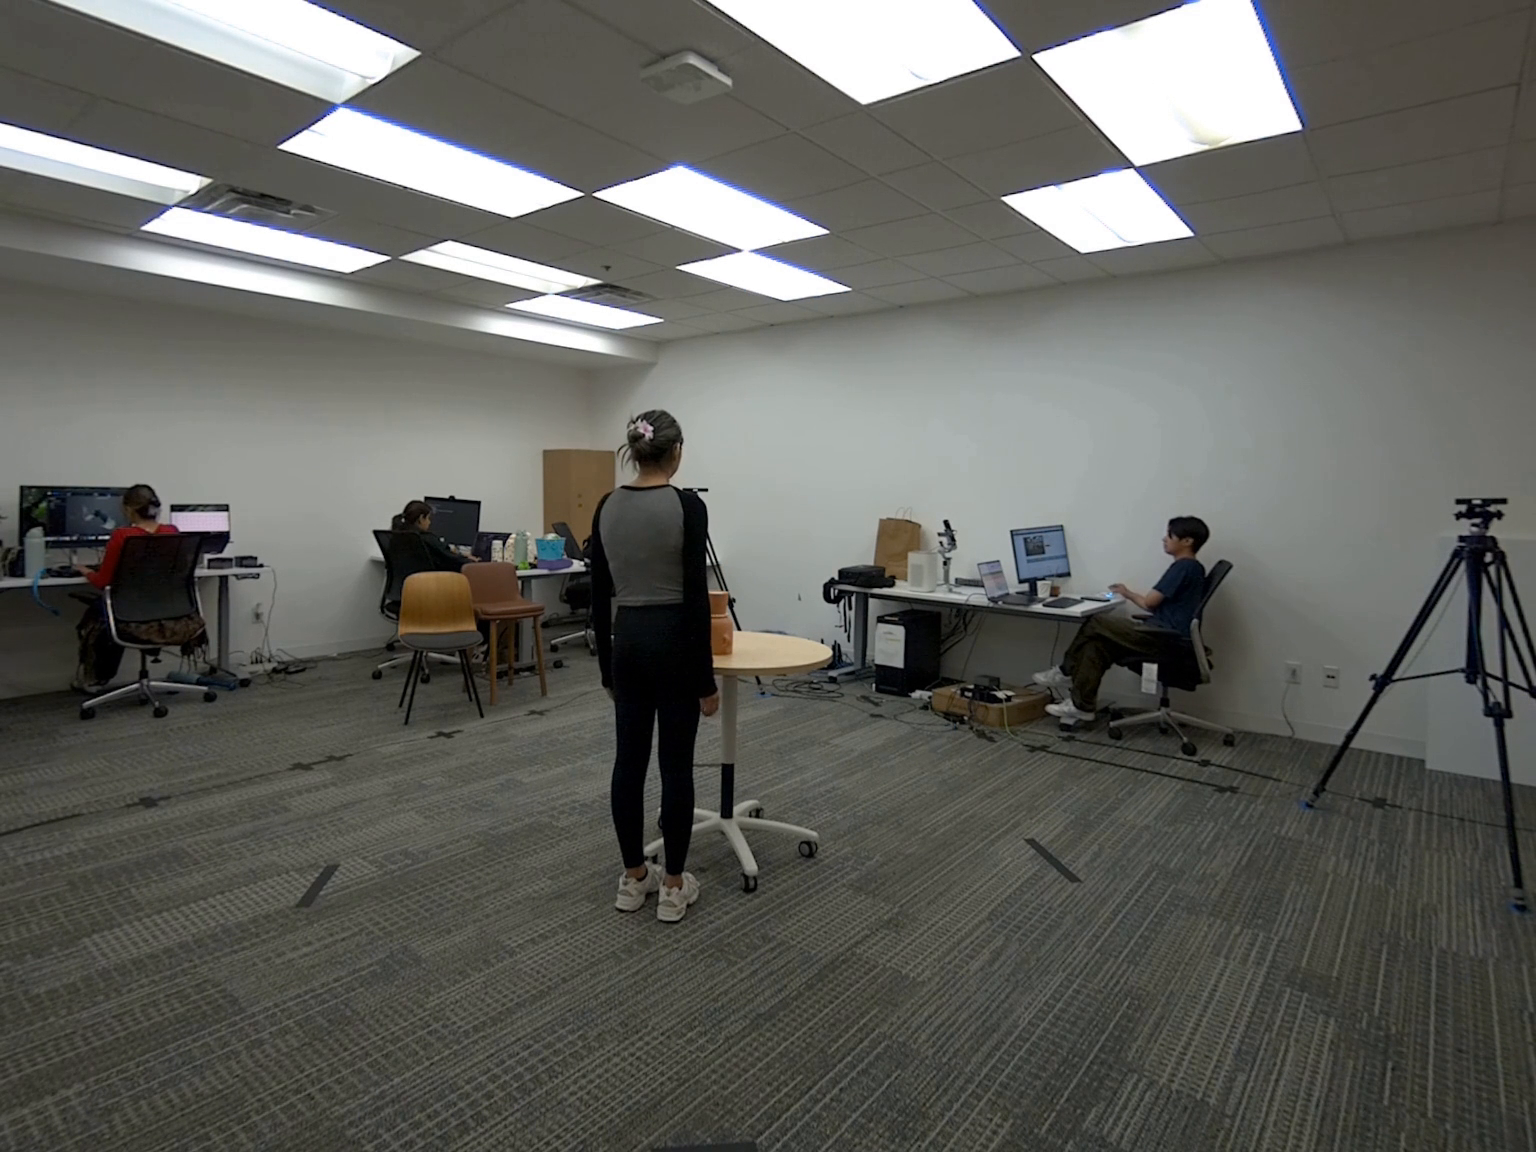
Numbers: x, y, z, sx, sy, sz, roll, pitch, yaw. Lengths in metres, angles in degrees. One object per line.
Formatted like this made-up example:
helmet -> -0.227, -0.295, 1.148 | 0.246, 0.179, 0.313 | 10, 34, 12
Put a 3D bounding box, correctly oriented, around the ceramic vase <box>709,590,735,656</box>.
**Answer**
ceramic vase -> -0.203, 0.165, 3.113 | 0.162, 0.219, 0.133 | 2, 5, 16
